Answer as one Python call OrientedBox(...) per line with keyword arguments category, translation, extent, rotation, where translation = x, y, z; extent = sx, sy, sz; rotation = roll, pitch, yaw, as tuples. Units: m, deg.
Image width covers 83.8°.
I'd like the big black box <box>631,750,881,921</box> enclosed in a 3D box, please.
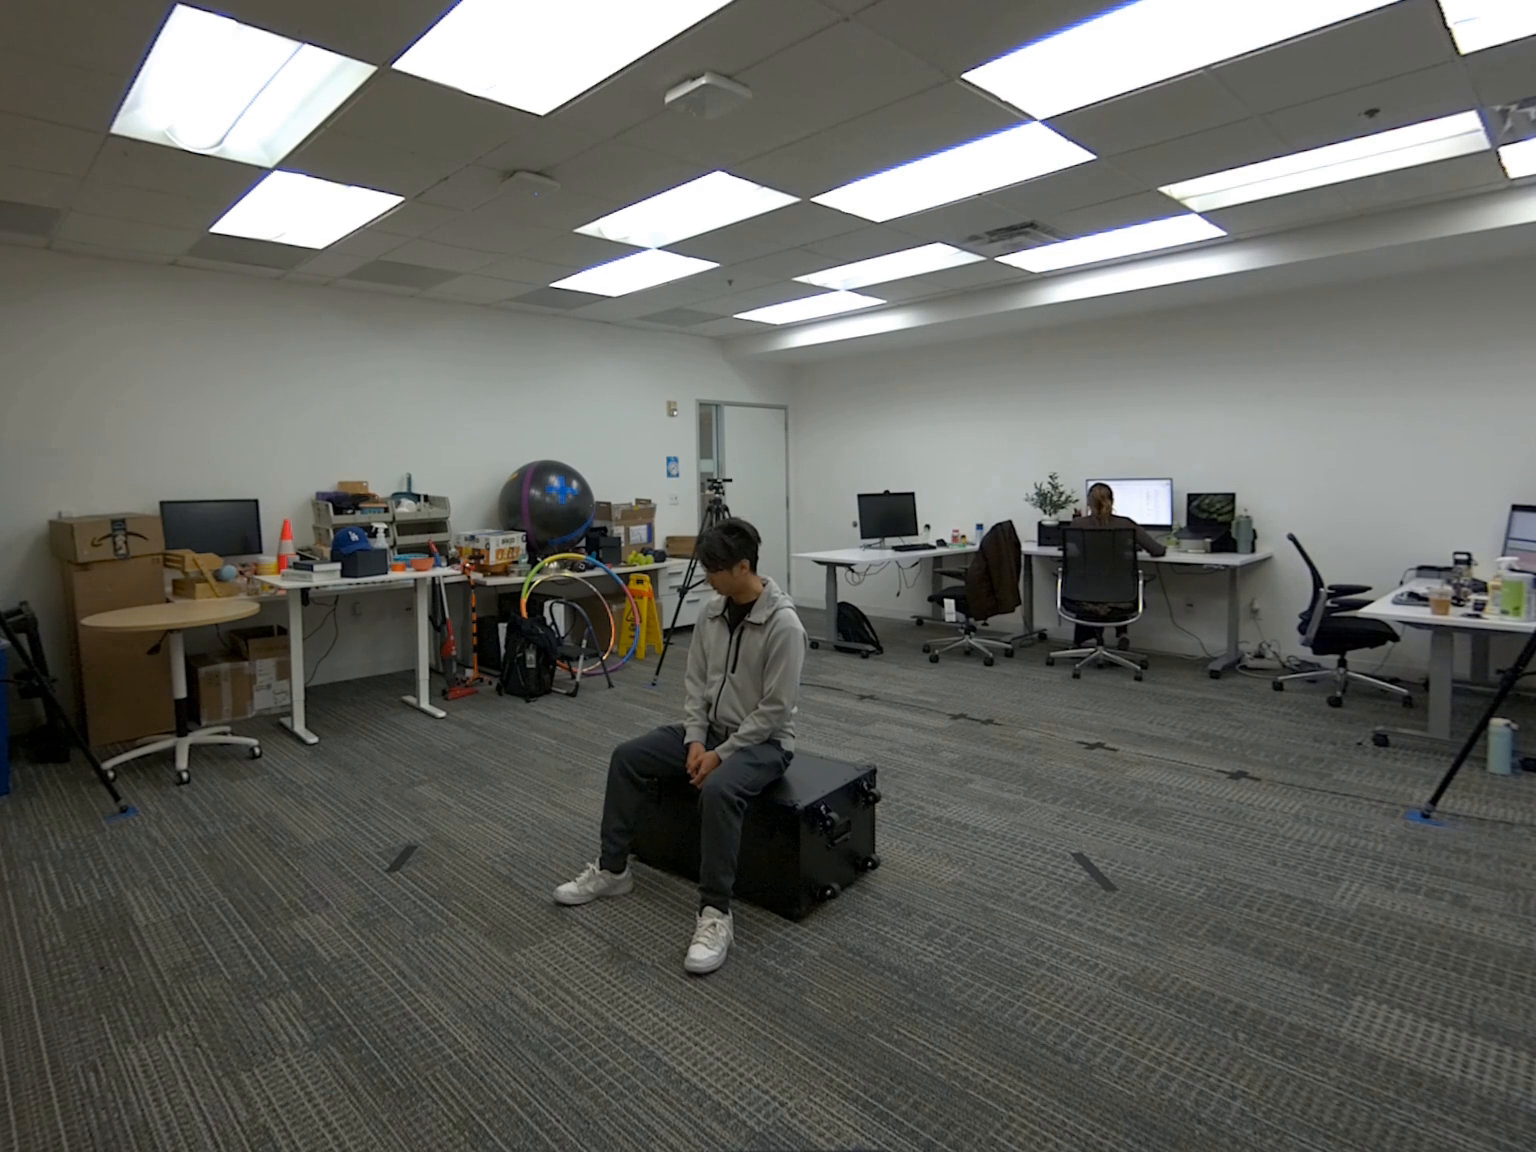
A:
OrientedBox(category="big black box", translation=(-0.090, 0.861, 3.117), extent=(0.887, 0.394, 0.508), rotation=(4, 7, 39))
